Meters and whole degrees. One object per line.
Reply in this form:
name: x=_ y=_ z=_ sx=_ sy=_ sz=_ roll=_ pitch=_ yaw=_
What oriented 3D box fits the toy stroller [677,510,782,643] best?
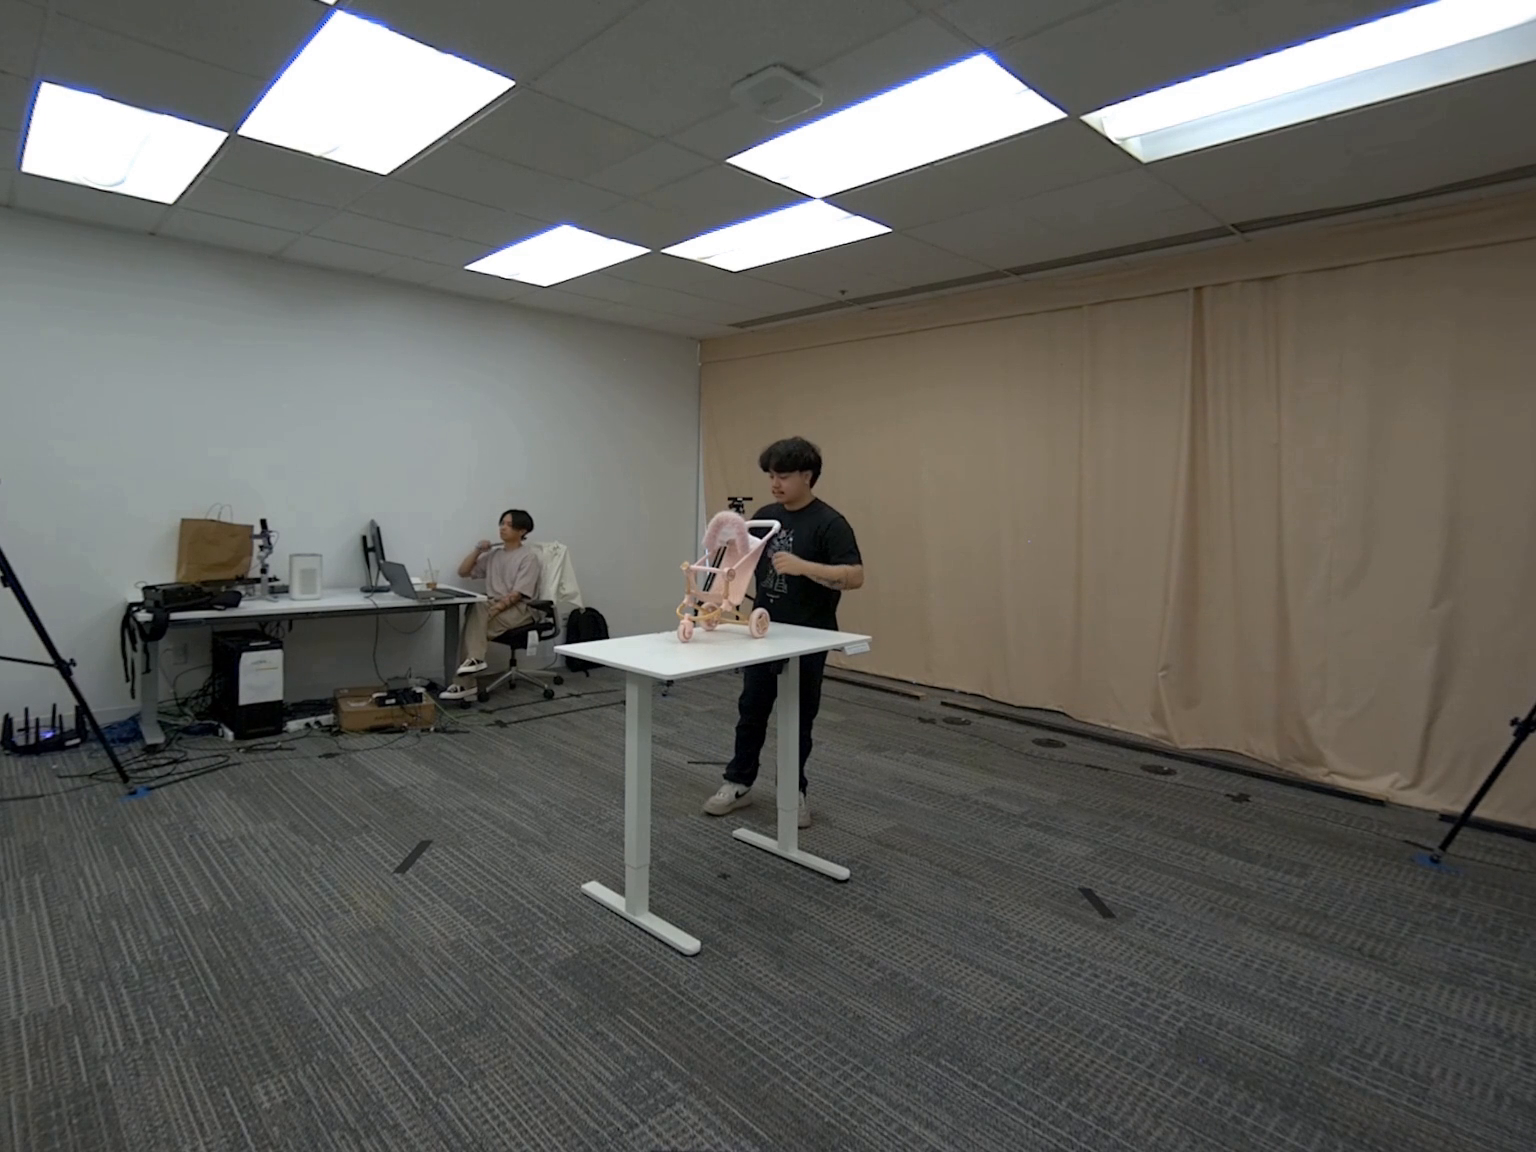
toy stroller: x=-0.174 y=0.002 z=3.098 sx=0.288 sy=0.538 sz=0.331 roll=3 pitch=-12 yaw=45
